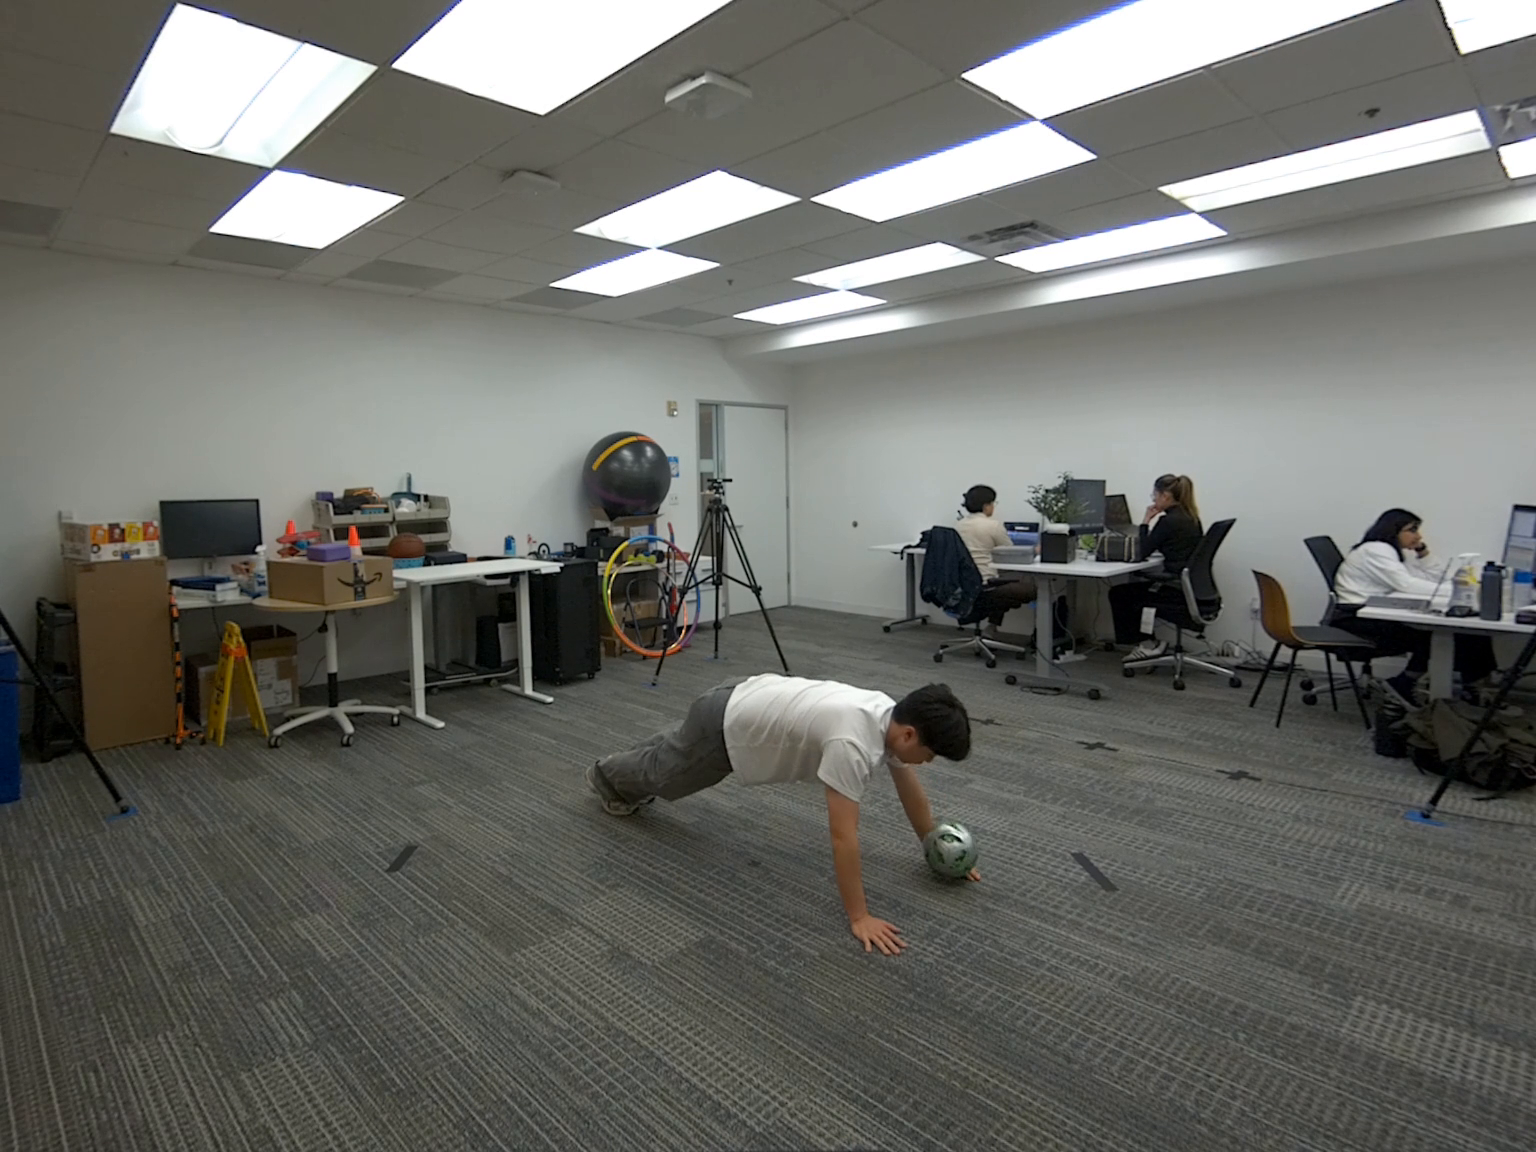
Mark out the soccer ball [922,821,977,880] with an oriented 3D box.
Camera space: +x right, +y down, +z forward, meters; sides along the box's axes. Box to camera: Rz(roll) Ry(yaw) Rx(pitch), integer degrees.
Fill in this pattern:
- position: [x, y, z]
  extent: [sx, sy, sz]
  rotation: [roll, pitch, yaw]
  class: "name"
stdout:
- position: [0.624, 0.944, 2.929]
  extent: [0.187, 0.187, 0.188]
  rotation: [-1, 5, -2]
  class: "soccer ball"
